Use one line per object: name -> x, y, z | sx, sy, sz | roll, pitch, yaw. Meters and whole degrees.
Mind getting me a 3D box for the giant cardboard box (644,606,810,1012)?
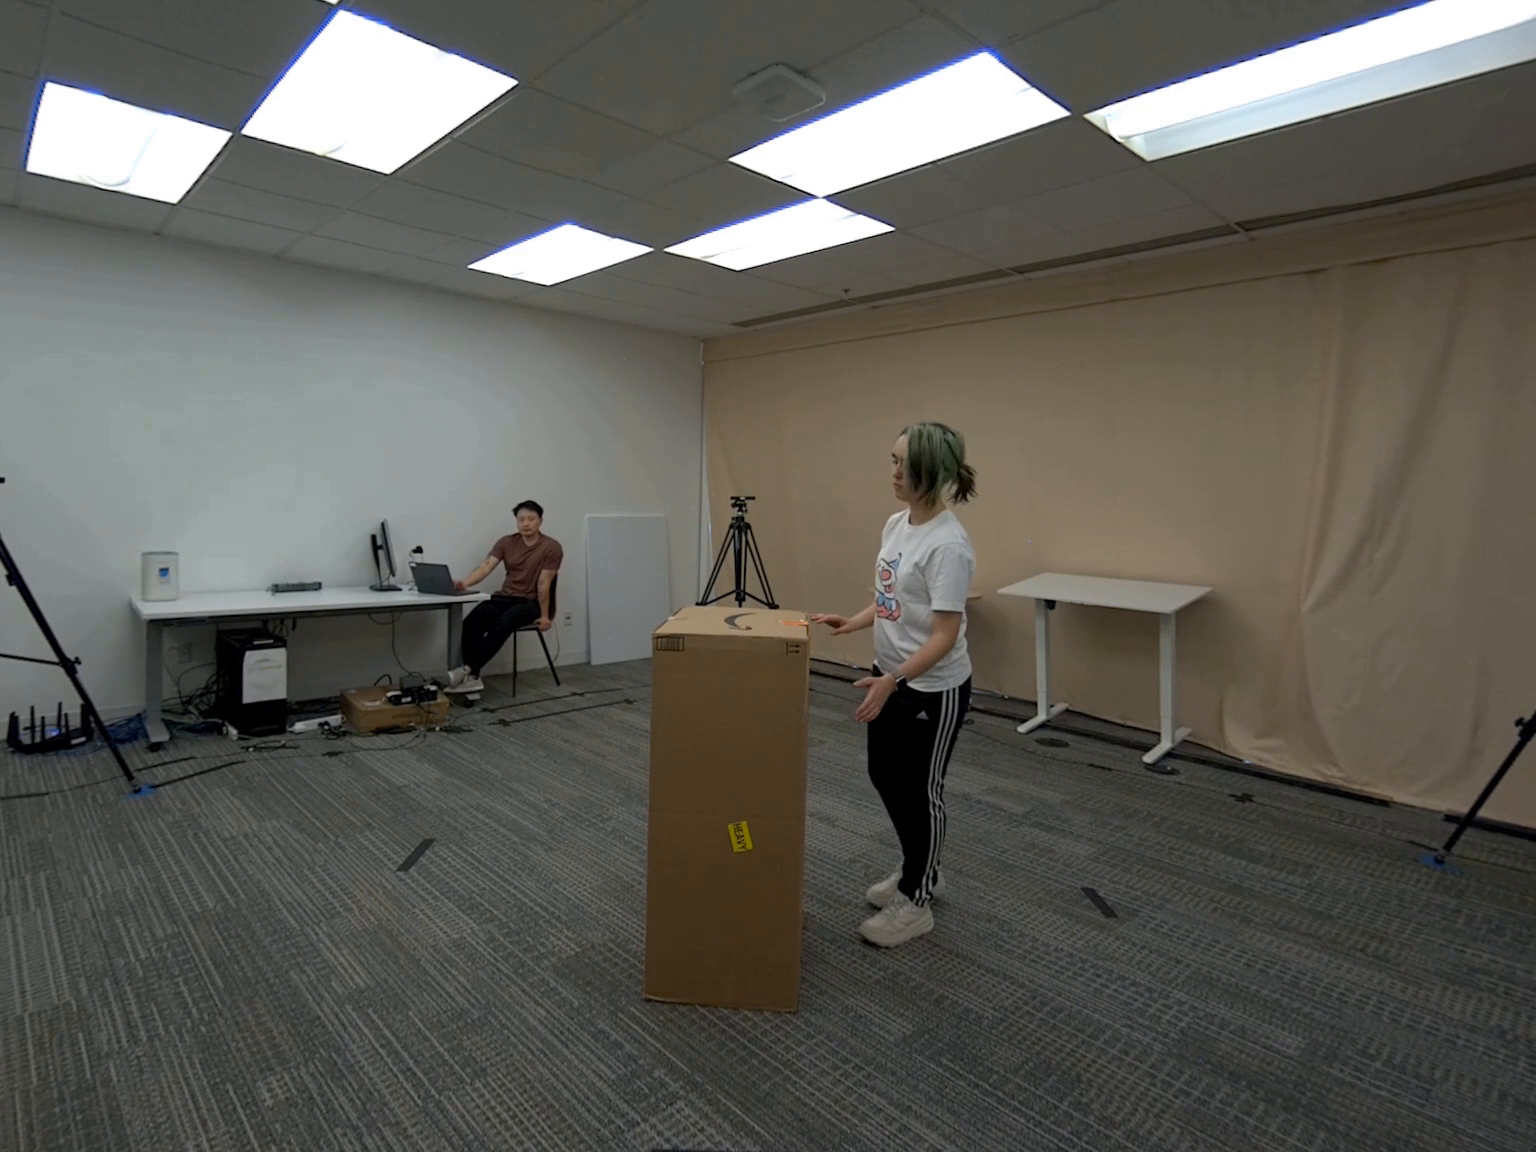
giant cardboard box -> -0.107, 0.651, 2.549 | 0.428, 1.023, 0.576 | 2, 3, 4
